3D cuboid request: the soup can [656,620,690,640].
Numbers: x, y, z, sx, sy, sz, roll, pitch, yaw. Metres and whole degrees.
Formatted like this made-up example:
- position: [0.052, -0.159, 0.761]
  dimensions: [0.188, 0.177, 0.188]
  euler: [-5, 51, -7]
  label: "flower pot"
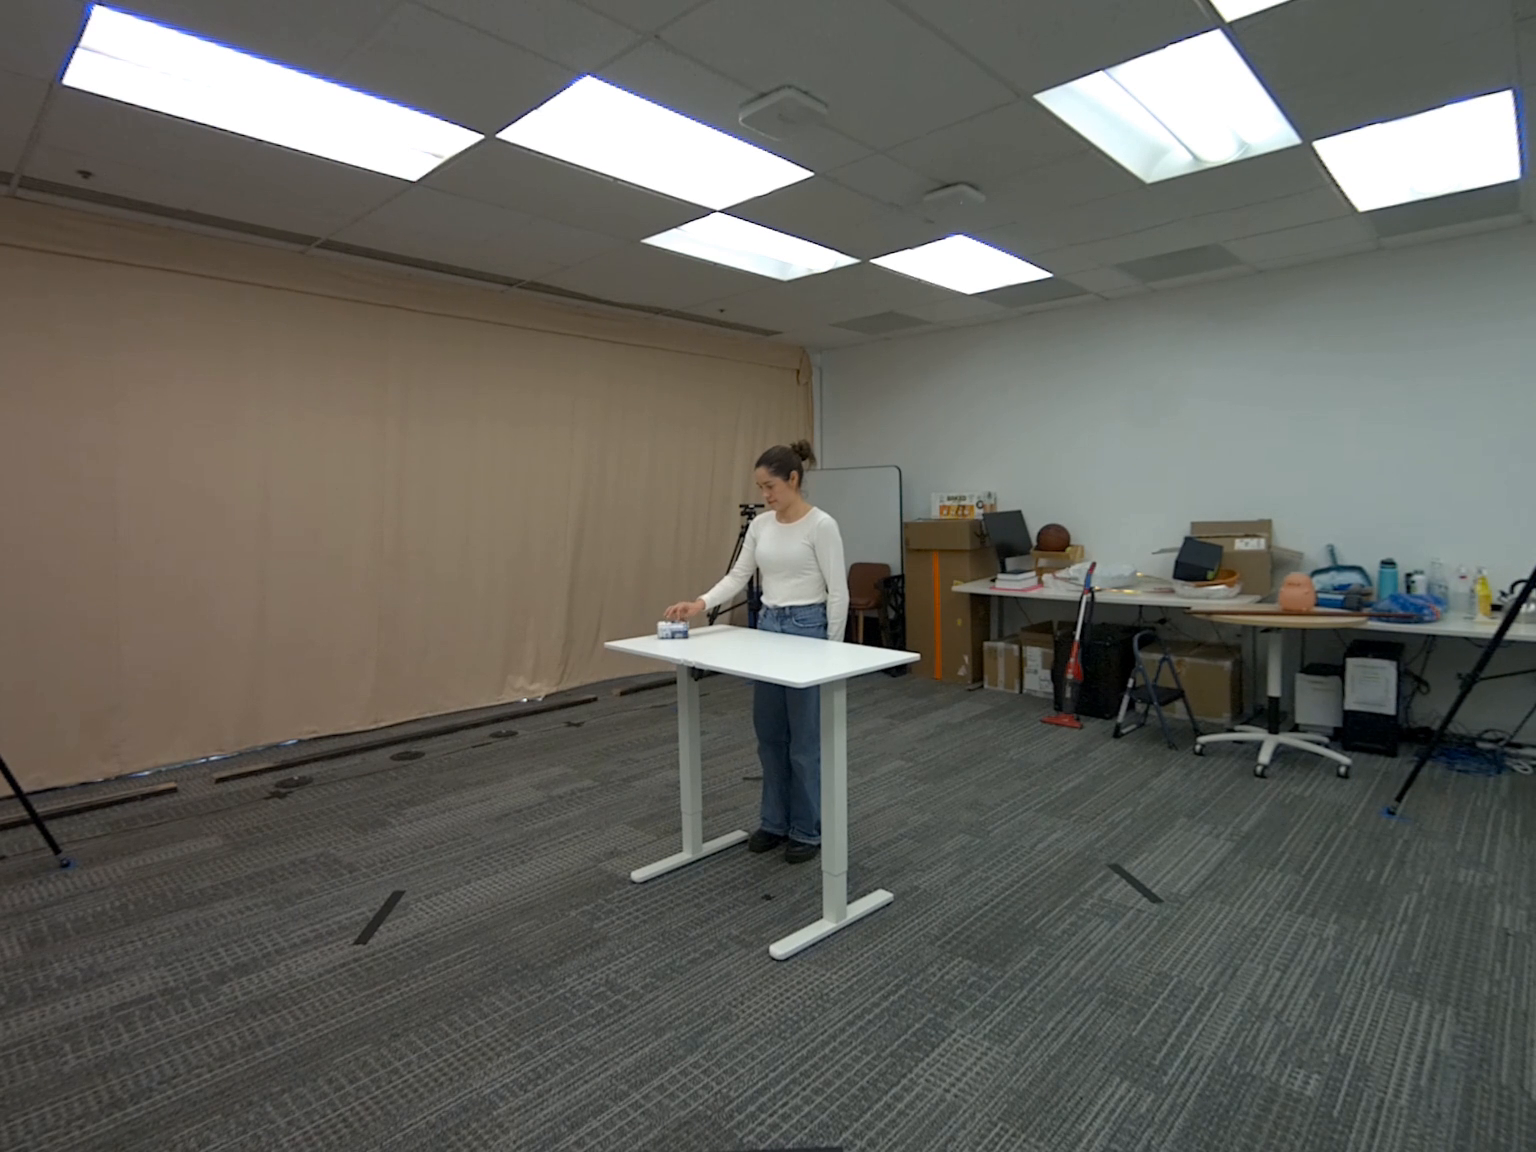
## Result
- position: [-0.355, 0.204, 3.228]
  dimensions: [0.121, 0.067, 0.067]
  euler: [0, 4, -2]
  label: "soup can"
